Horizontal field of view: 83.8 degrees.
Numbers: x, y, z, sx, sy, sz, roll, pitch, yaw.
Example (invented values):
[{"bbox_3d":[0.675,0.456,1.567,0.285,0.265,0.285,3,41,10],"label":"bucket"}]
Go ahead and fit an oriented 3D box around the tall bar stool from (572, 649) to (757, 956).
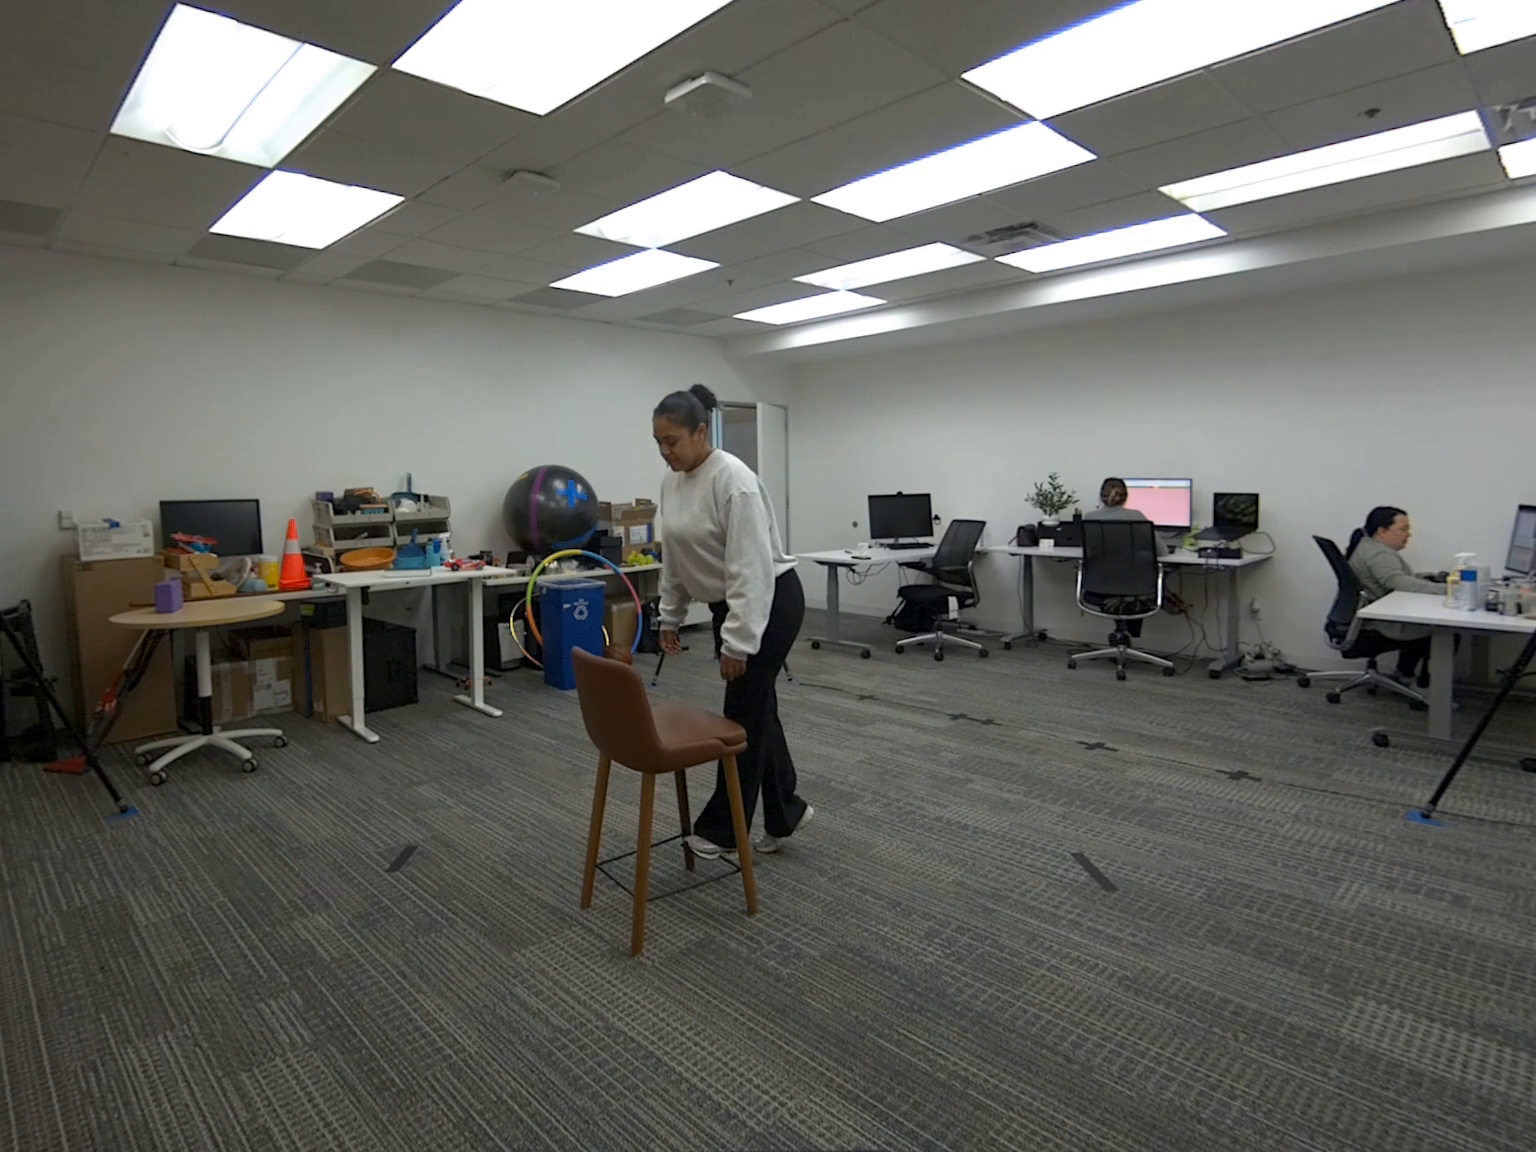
[{"bbox_3d":[-0.339,0.652,2.757,0.456,0.885,0.470,-6,7,-35],"label":"tall bar stool"}]
